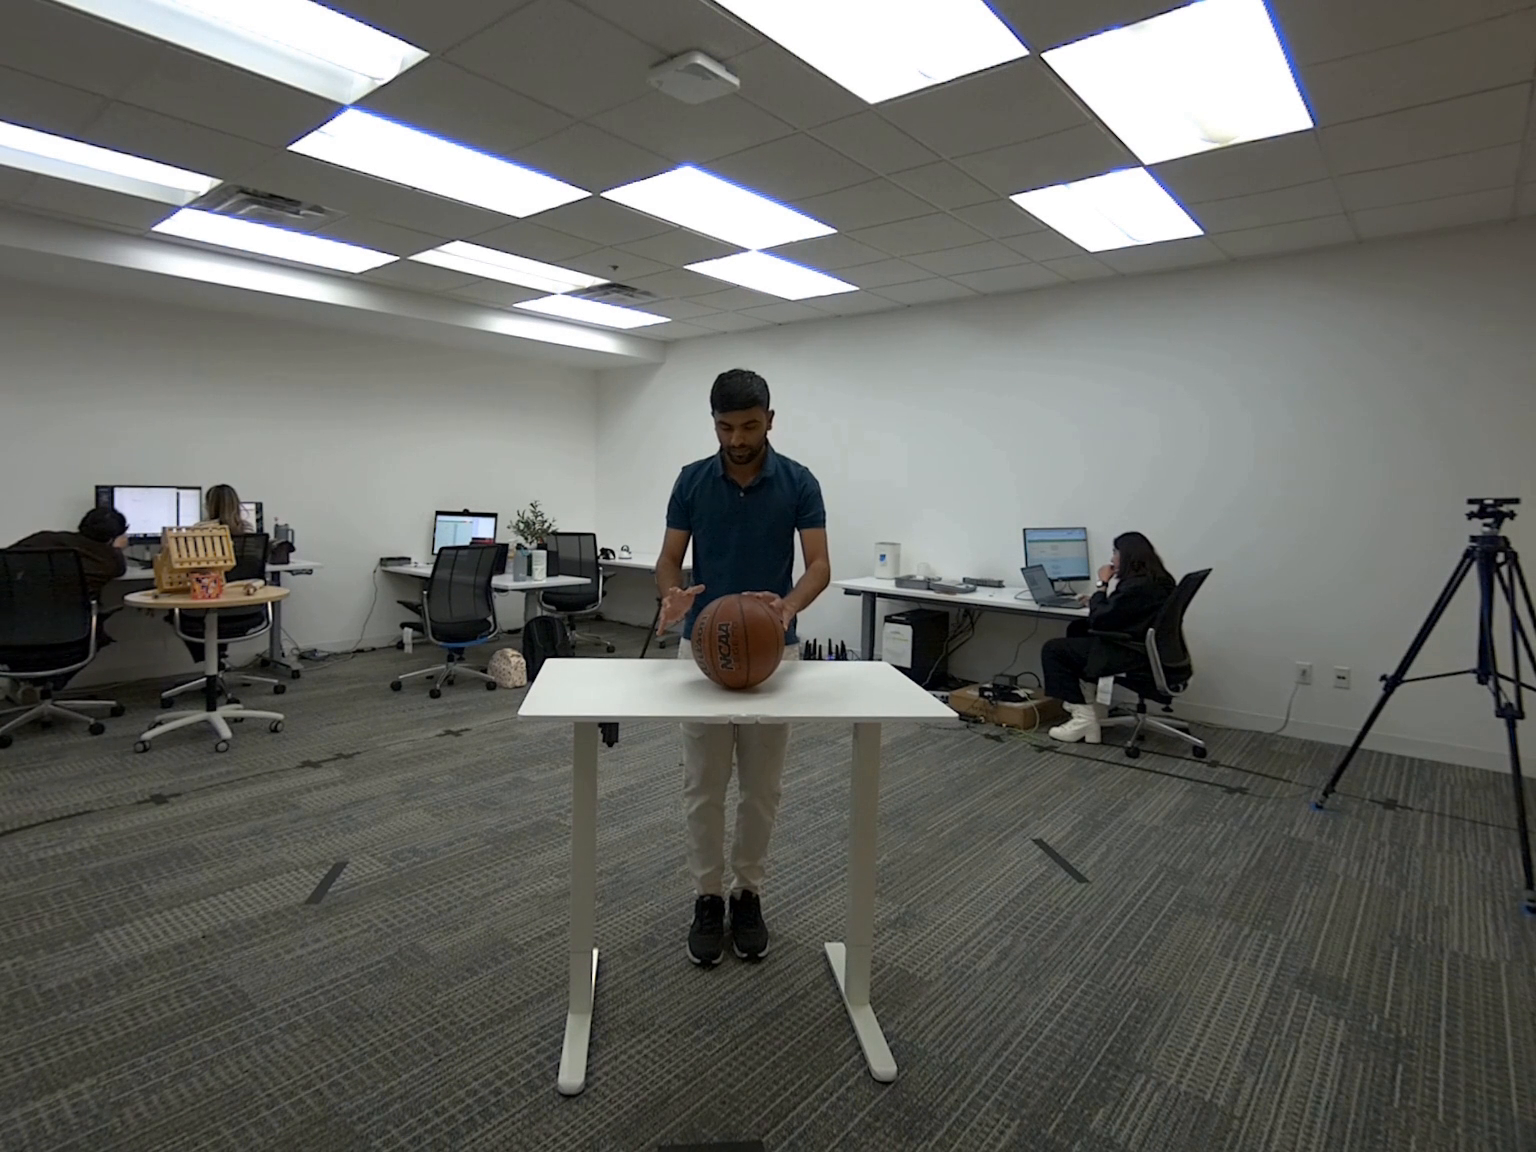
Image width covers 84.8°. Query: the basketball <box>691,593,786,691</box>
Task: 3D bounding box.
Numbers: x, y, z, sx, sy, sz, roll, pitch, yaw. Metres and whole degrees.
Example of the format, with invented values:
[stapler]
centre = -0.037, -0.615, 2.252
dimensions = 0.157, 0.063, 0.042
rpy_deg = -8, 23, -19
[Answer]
[basketball]
centre = -0.083, 0.163, 2.171
dimensions = 0.235, 0.235, 0.237
rpy_deg = 1, 4, -2
